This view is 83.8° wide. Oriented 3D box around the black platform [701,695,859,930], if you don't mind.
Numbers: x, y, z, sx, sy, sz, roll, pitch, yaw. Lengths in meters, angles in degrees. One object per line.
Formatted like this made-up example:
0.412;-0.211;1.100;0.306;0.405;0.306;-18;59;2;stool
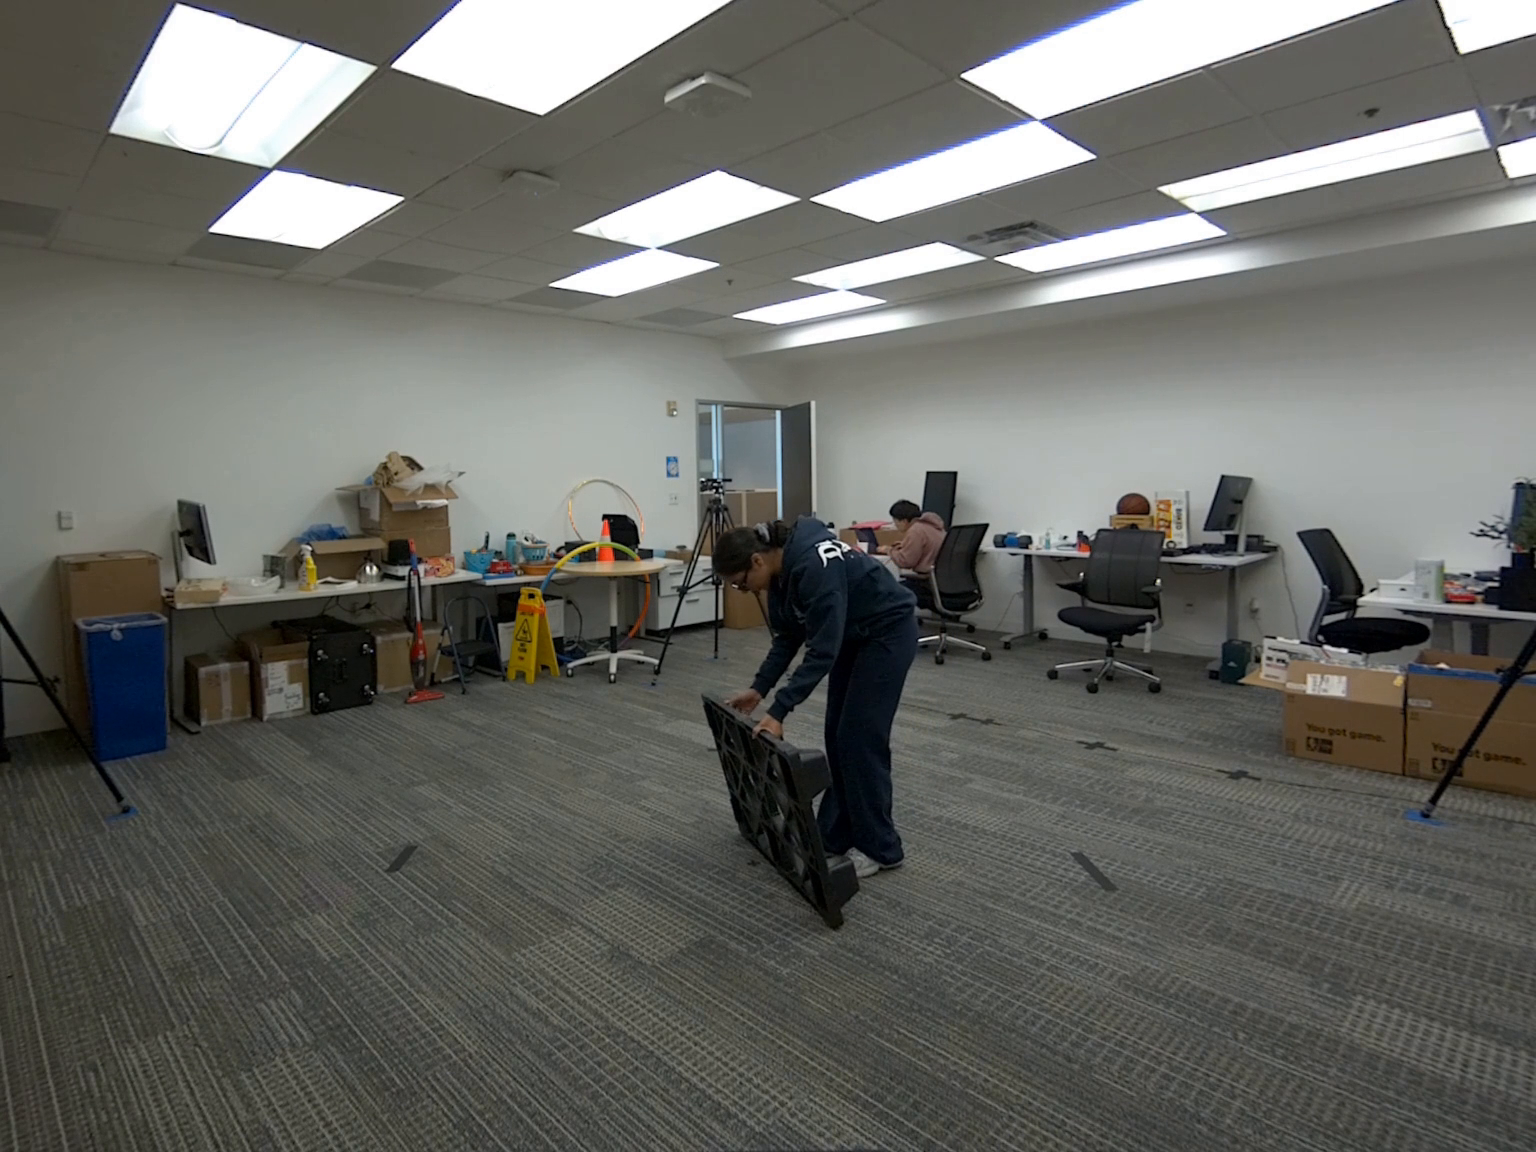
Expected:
0.030;0.754;2.973;0.141;0.598;0.825;-18;12;-20;black platform
